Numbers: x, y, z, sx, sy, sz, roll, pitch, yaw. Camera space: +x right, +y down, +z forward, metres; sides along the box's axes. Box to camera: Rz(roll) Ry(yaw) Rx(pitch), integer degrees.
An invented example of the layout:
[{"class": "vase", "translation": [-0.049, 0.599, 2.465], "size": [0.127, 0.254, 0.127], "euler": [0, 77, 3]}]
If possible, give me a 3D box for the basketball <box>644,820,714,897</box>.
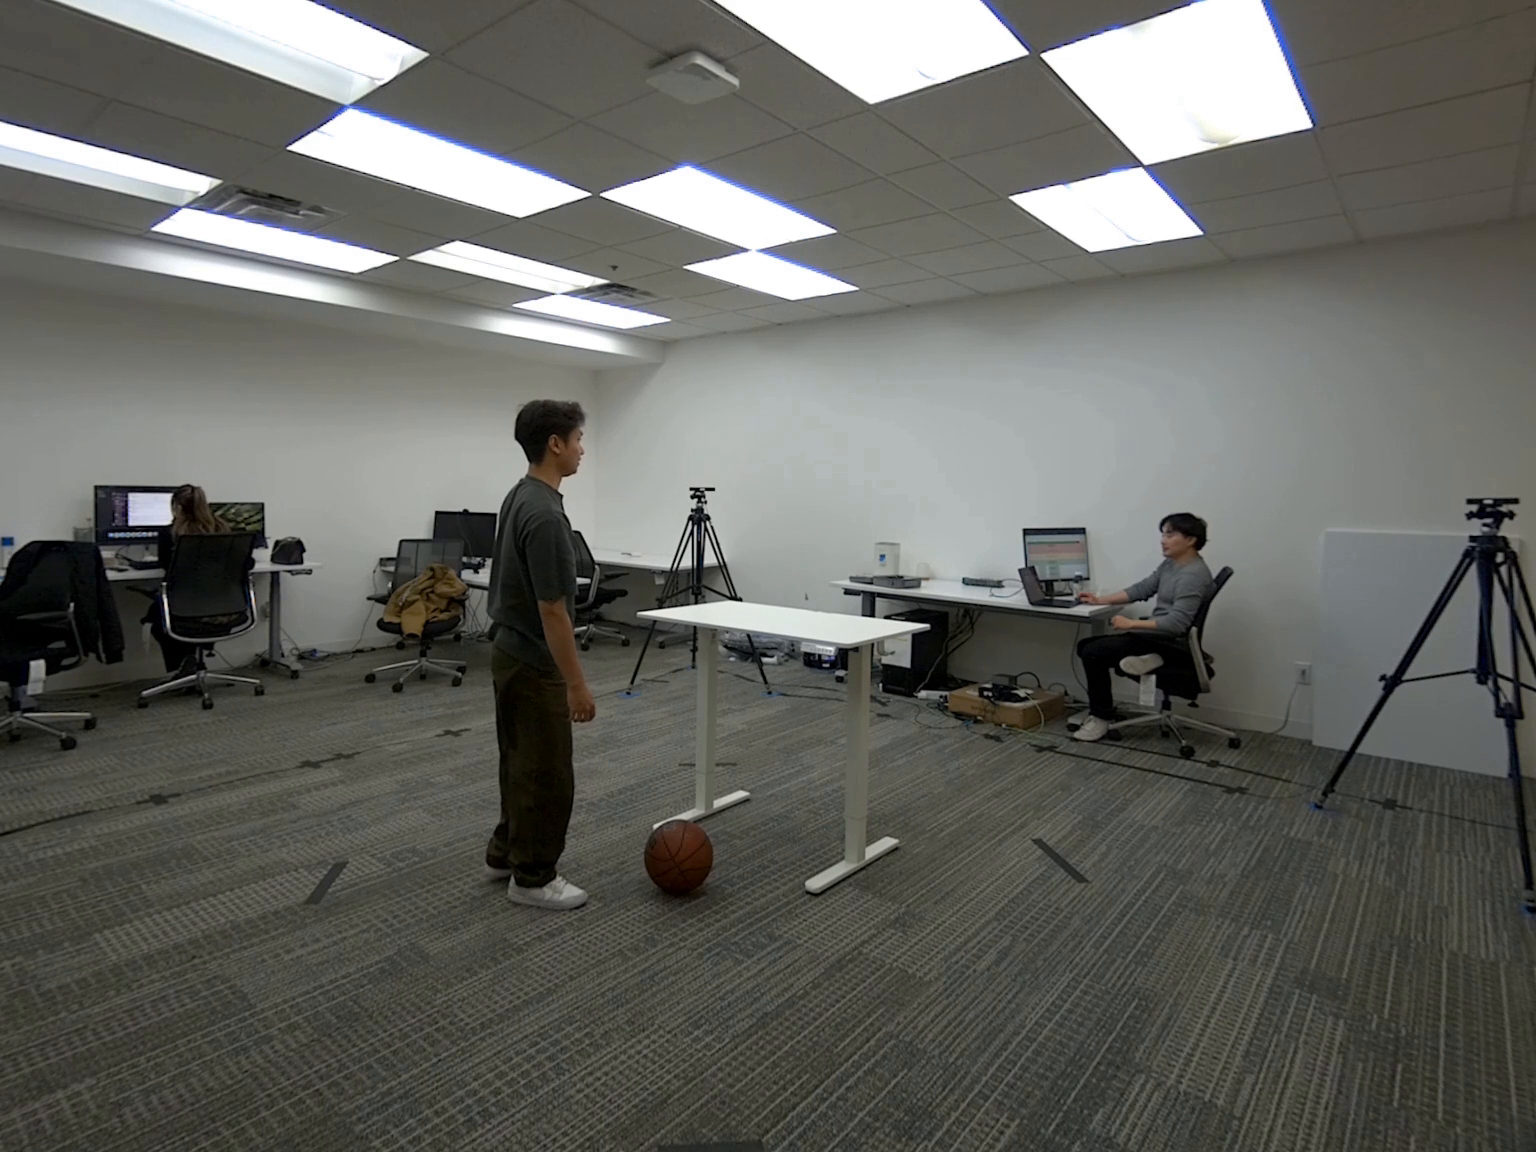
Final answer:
[{"class": "basketball", "translation": [-0.323, 0.966, 2.921], "size": [0.235, 0.235, 0.237], "euler": [1, 4, -2]}]
